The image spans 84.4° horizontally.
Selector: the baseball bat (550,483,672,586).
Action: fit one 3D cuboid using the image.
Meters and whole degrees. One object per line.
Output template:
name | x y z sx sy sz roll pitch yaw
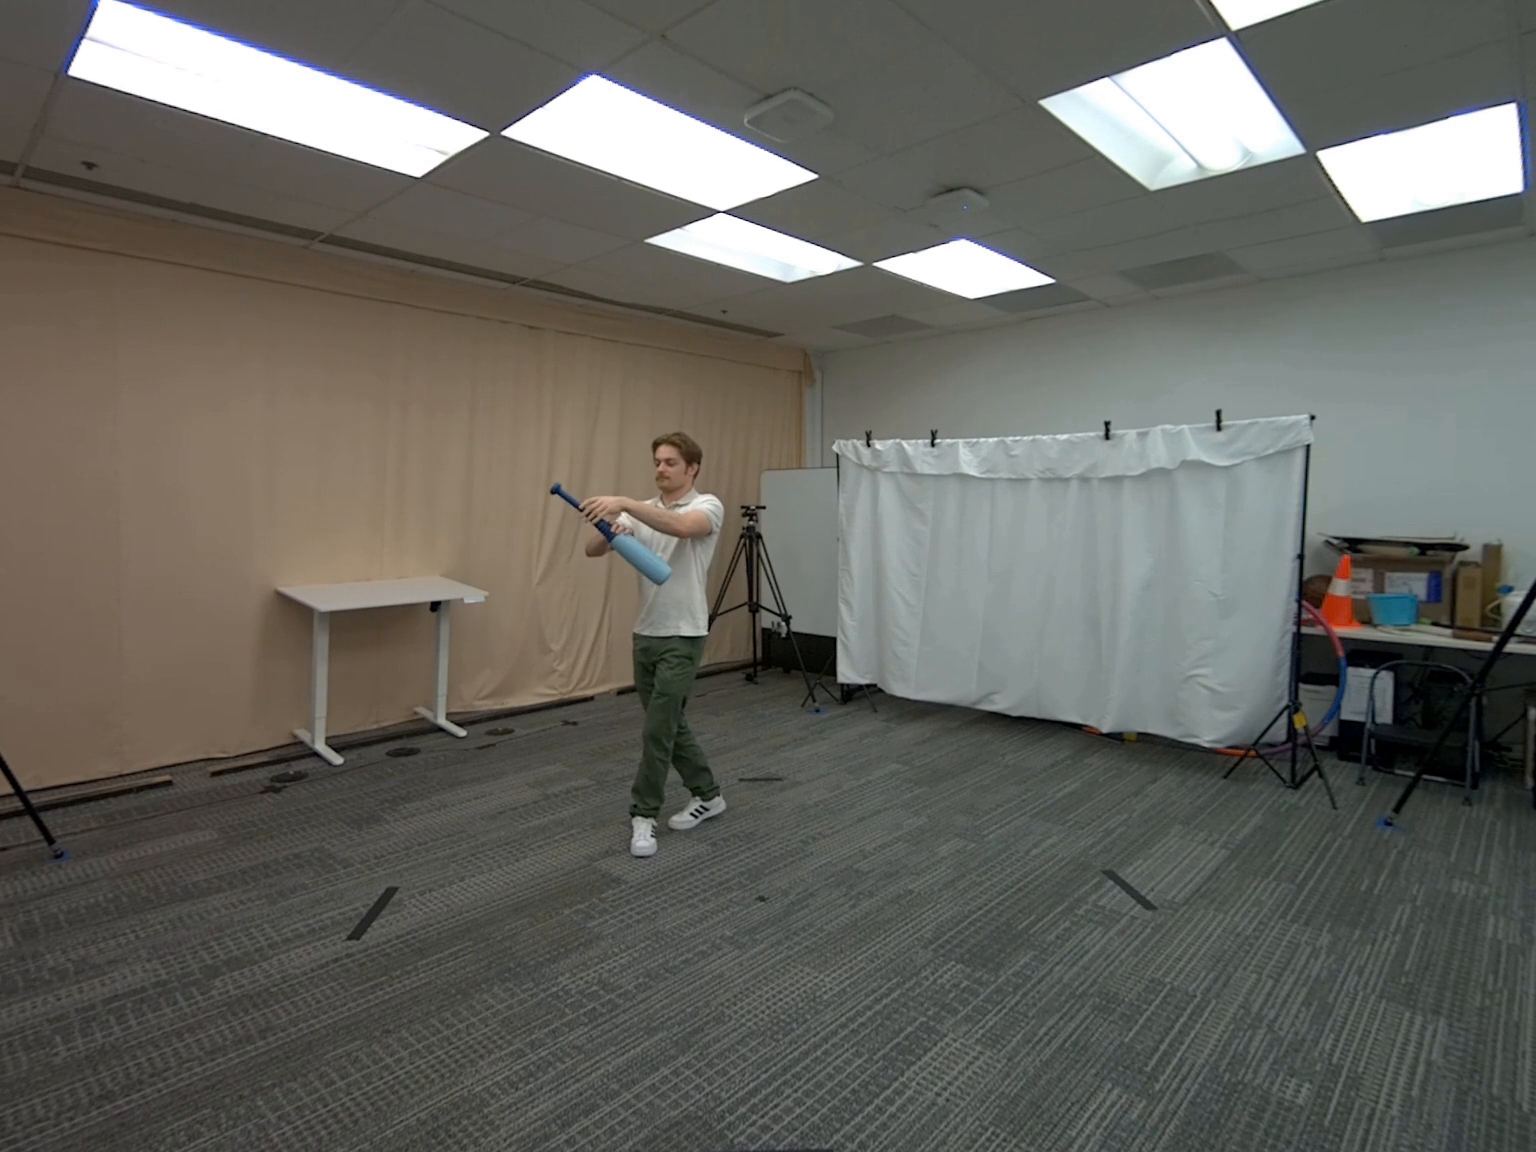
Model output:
baseball bat | -0.583 -0.154 3.122 0.538 0.089 0.090 39 -3 -7
